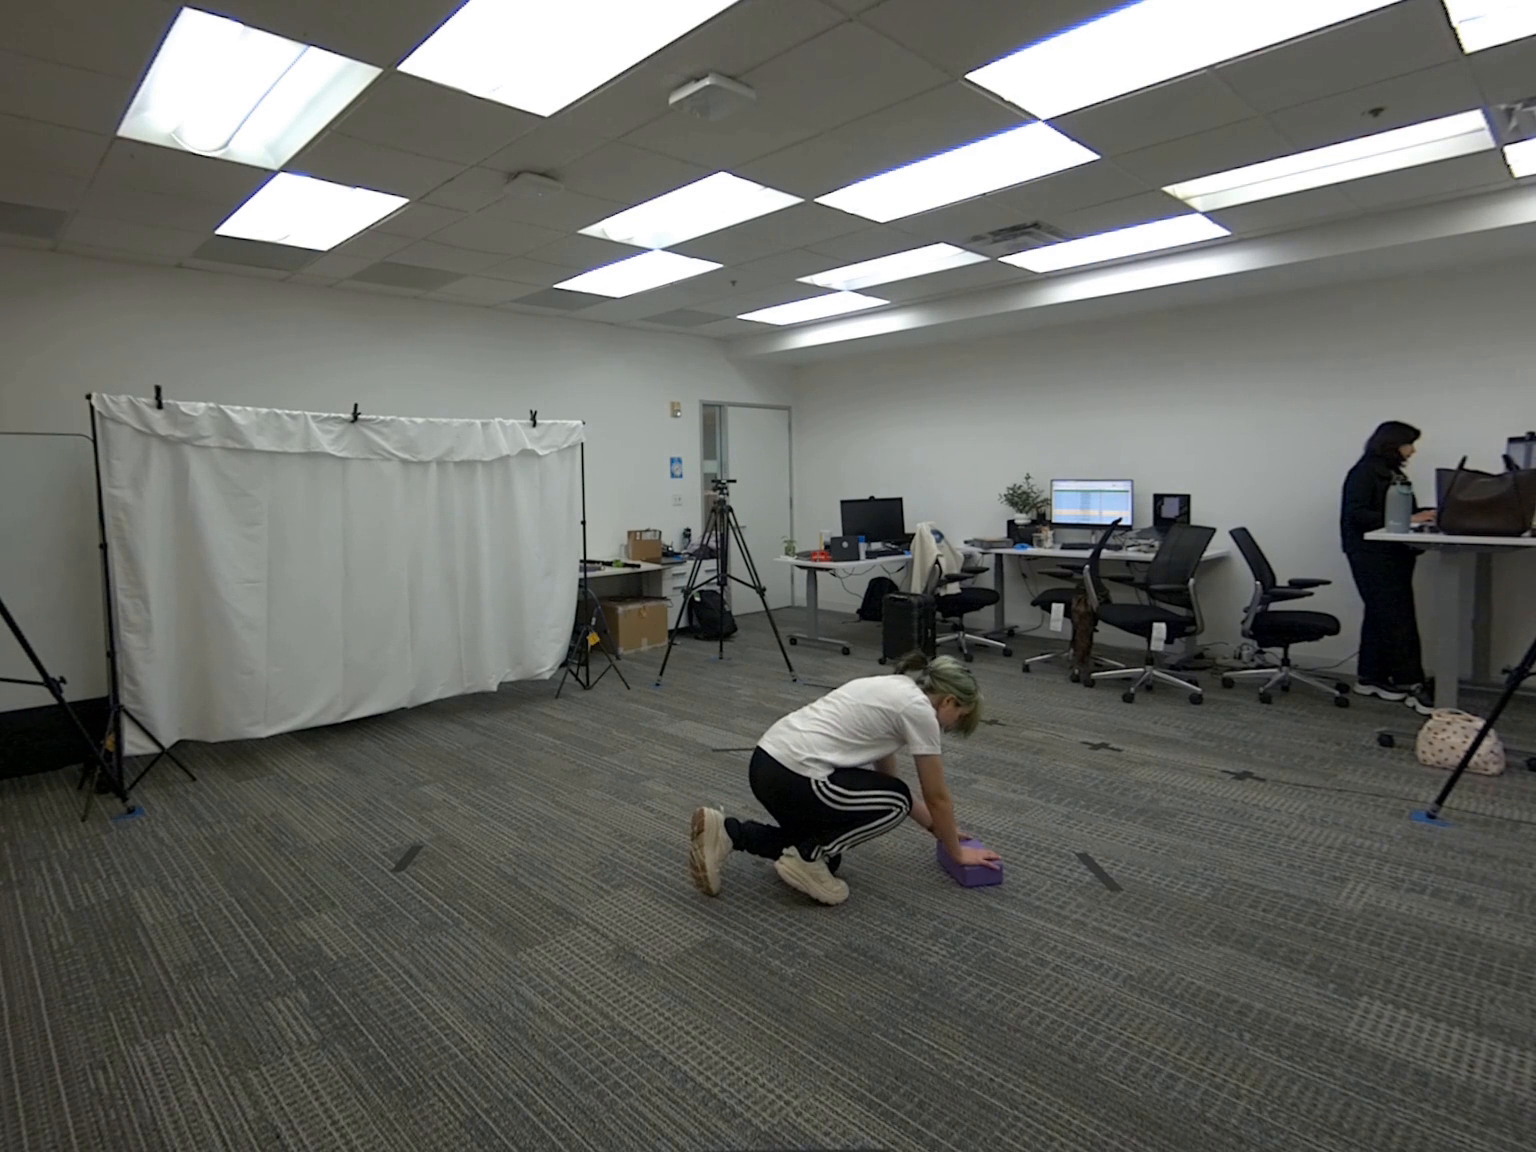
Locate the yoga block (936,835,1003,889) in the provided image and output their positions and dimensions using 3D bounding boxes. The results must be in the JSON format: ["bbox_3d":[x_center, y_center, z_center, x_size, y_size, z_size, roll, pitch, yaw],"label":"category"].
[{"bbox_3d":[0.703,0.998,3.006,0.147,0.076,0.232,0,5,-11],"label":"yoga block"}]
